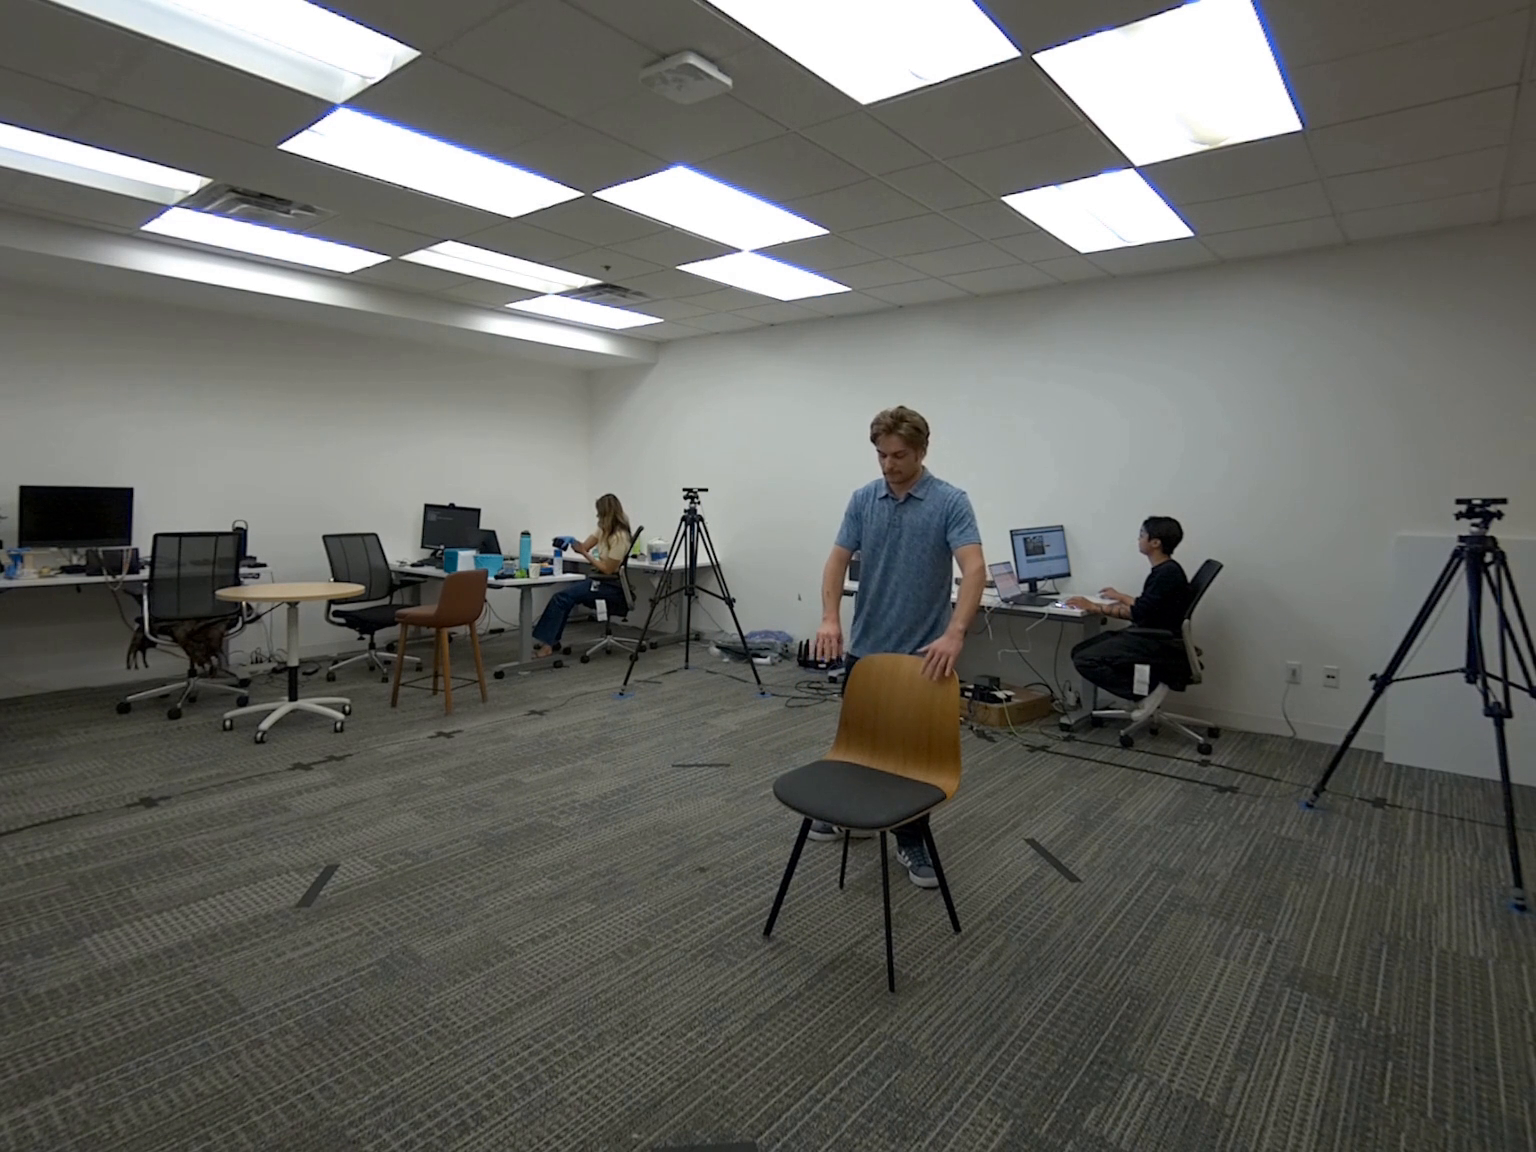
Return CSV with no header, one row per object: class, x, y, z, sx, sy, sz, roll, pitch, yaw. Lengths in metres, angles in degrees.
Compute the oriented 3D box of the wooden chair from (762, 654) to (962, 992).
wooden chair,0.301,0.697,2.647,0.494,0.878,0.506,4,0,38
